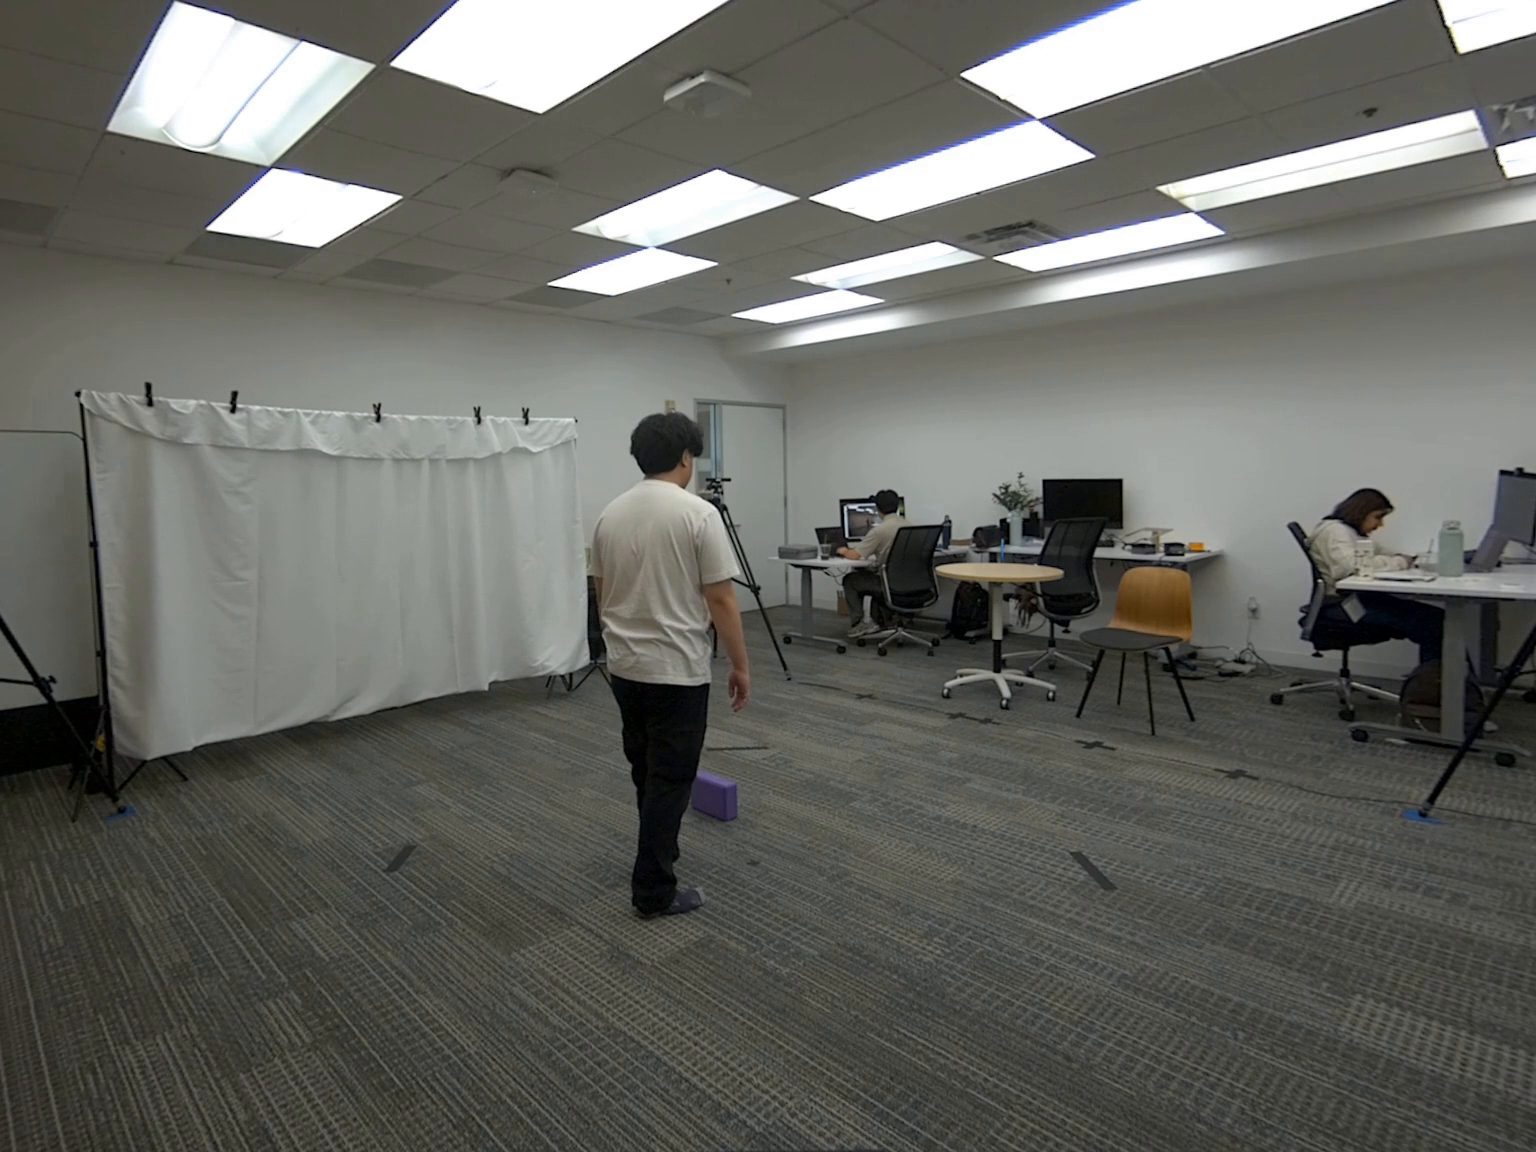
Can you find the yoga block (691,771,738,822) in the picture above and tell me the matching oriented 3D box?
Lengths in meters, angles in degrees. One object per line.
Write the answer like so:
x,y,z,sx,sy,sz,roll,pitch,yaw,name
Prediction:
-0.226,0.915,3.578,0.074,0.148,0.236,-4,5,-42,yoga block
